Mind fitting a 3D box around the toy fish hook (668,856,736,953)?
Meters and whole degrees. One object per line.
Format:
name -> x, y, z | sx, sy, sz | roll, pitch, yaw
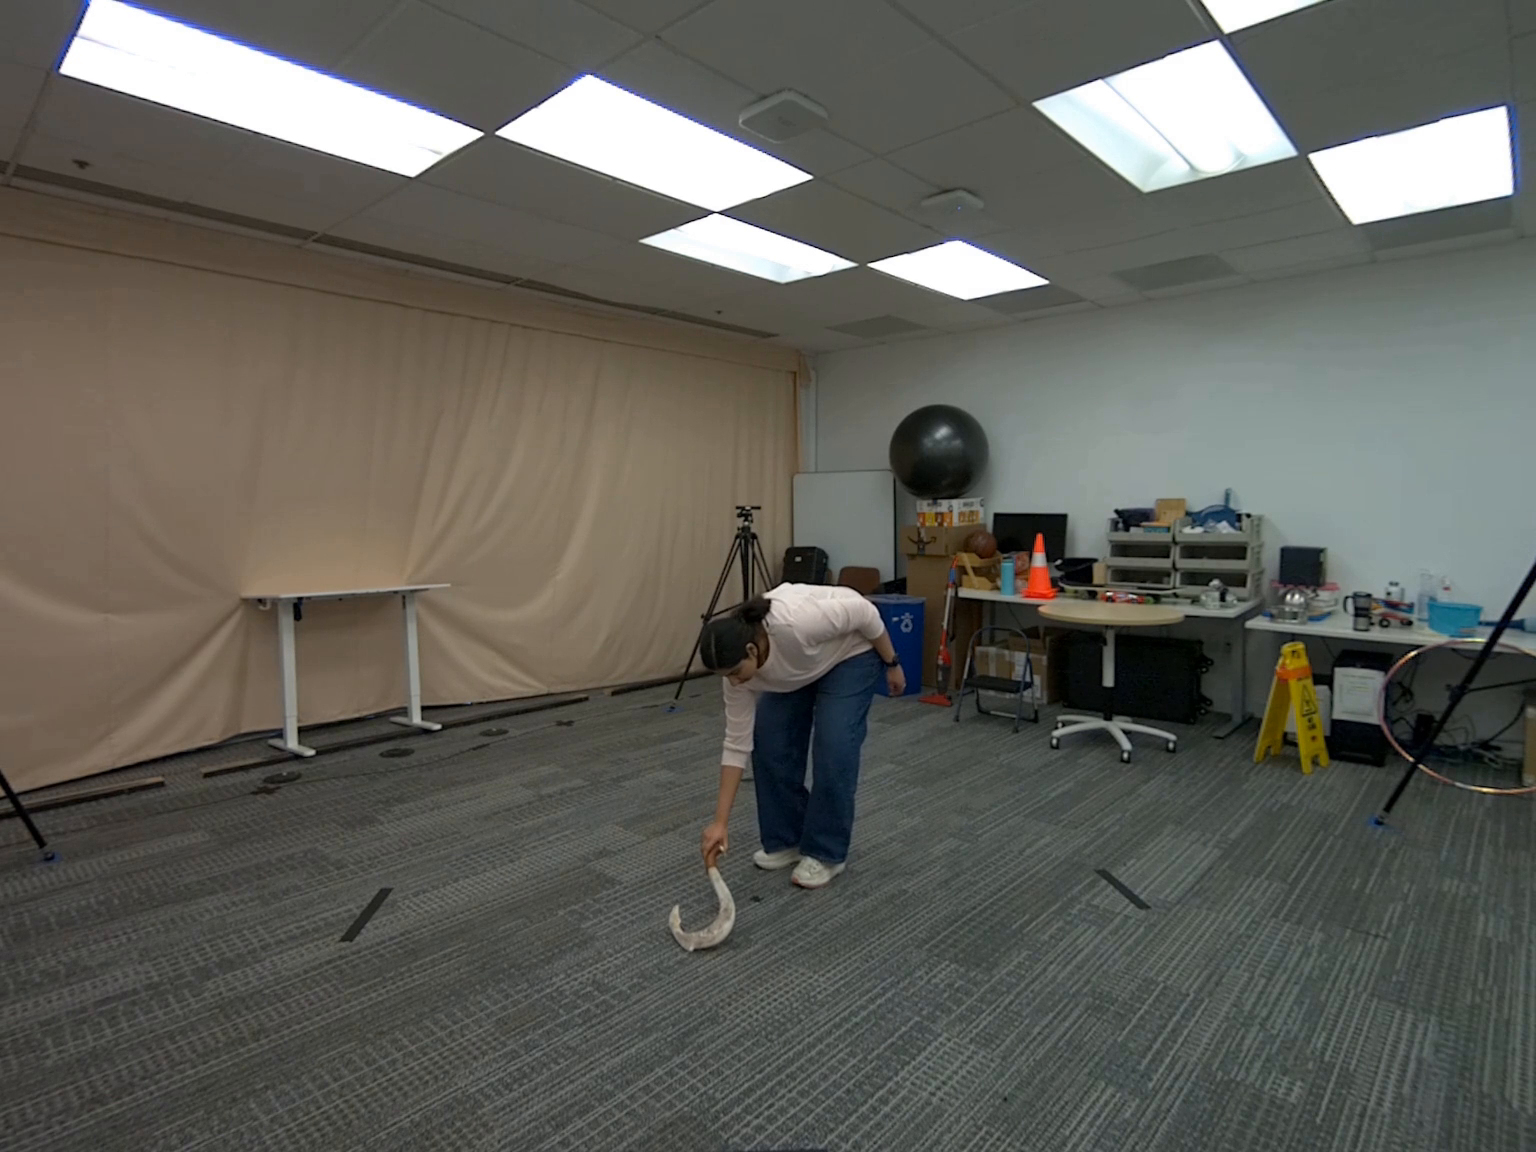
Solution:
toy fish hook -> -0.222, 1.056, 2.849 | 0.225, 0.047, 0.515 | -15, 22, 1
